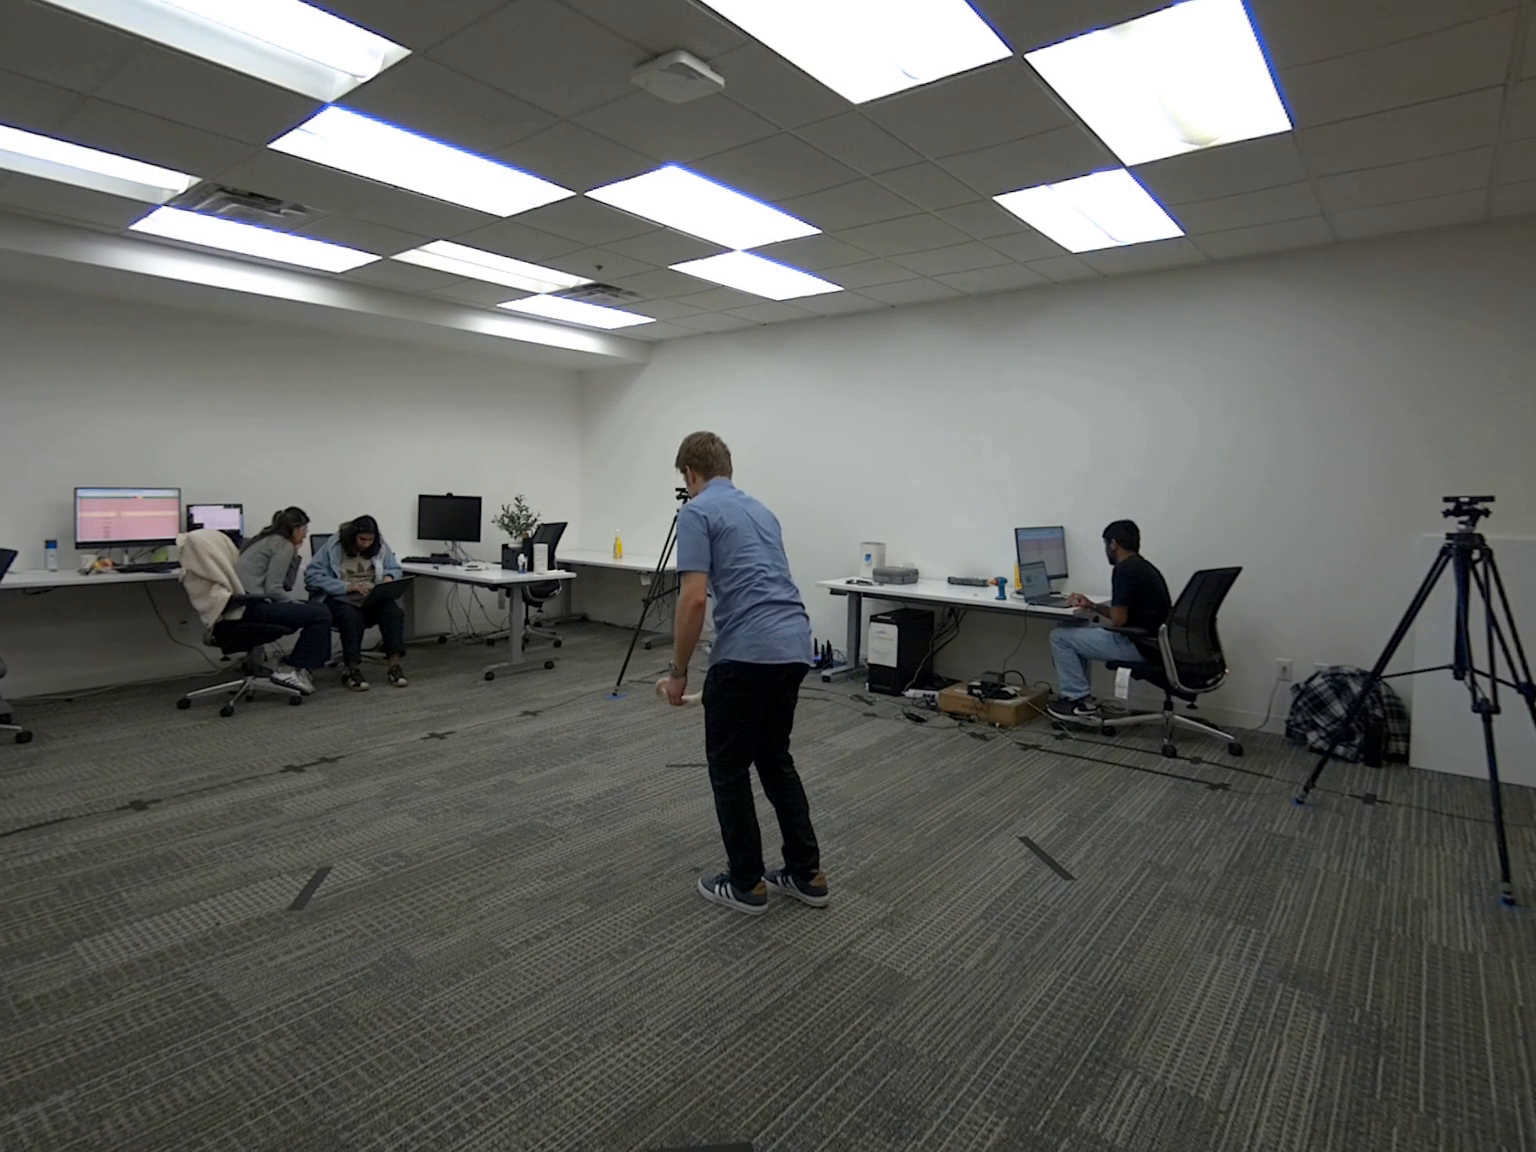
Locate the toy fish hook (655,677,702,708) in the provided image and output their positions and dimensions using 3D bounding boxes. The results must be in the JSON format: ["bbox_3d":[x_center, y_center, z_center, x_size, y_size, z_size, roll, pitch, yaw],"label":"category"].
[{"bbox_3d":[-0.288,0.420,3.331,0.217,0.049,0.513,26,-35,-31],"label":"toy fish hook"}]
